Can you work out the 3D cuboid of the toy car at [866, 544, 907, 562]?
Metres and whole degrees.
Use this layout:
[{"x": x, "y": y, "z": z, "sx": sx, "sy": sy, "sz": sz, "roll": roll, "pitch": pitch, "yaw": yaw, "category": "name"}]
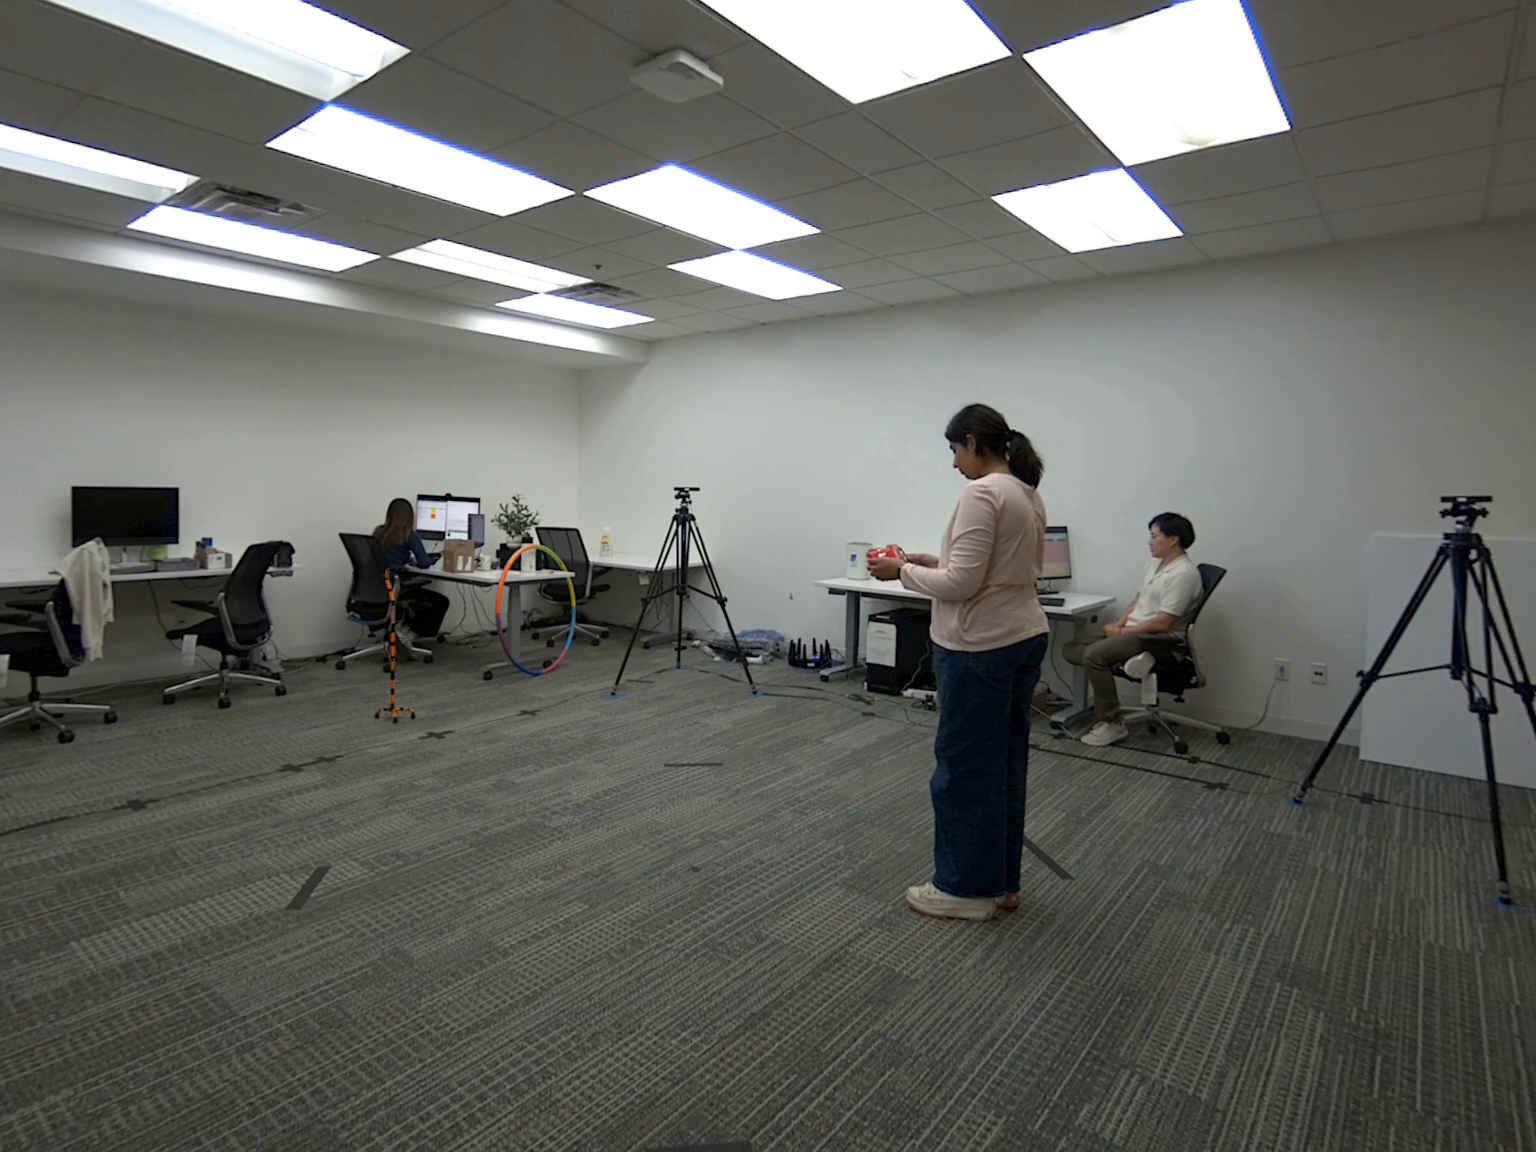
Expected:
[{"x": 0.427, "y": -0.050, "z": 3.053, "sx": 0.084, "sy": 0.133, "sz": 0.248, "roll": -37, "pitch": -15, "yaw": 23, "category": "toy car"}]
